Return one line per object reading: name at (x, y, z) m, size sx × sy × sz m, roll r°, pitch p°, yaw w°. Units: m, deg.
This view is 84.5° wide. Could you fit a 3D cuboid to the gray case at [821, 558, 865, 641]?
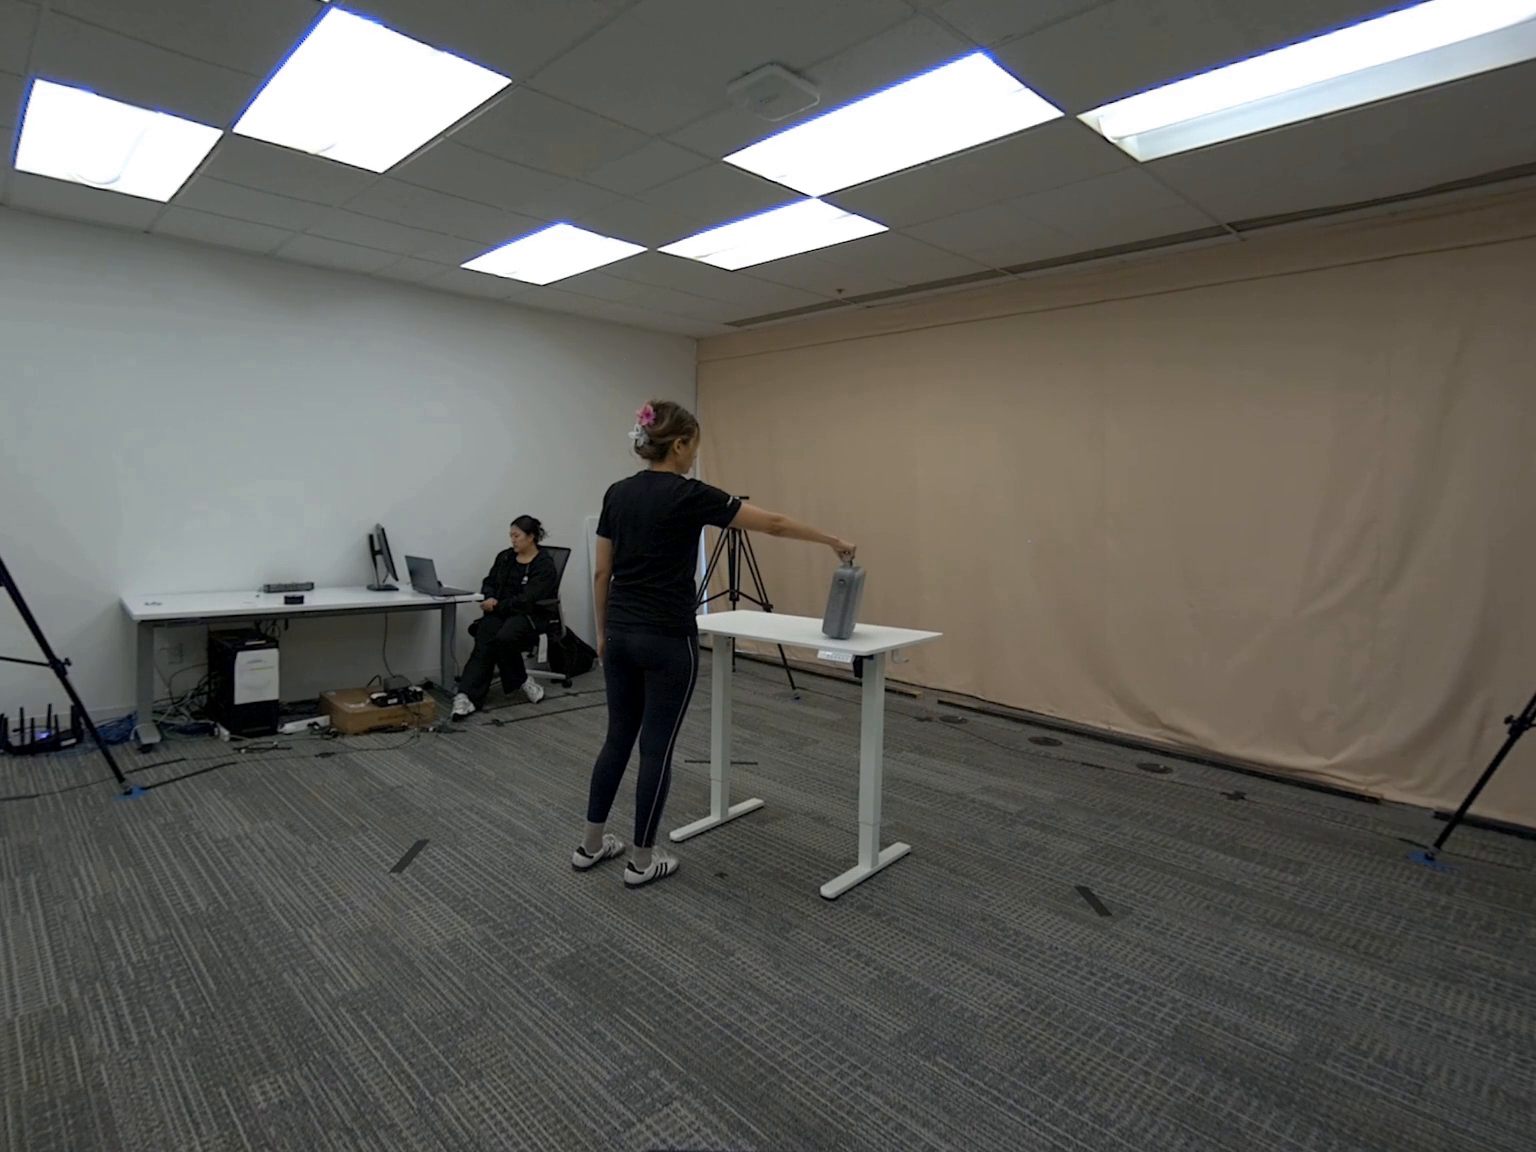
gray case at (0.277, 0.090, 3.138) m, size 0.105 × 0.260 × 0.255 m, roll 10°, pitch 6°, yaw 10°
